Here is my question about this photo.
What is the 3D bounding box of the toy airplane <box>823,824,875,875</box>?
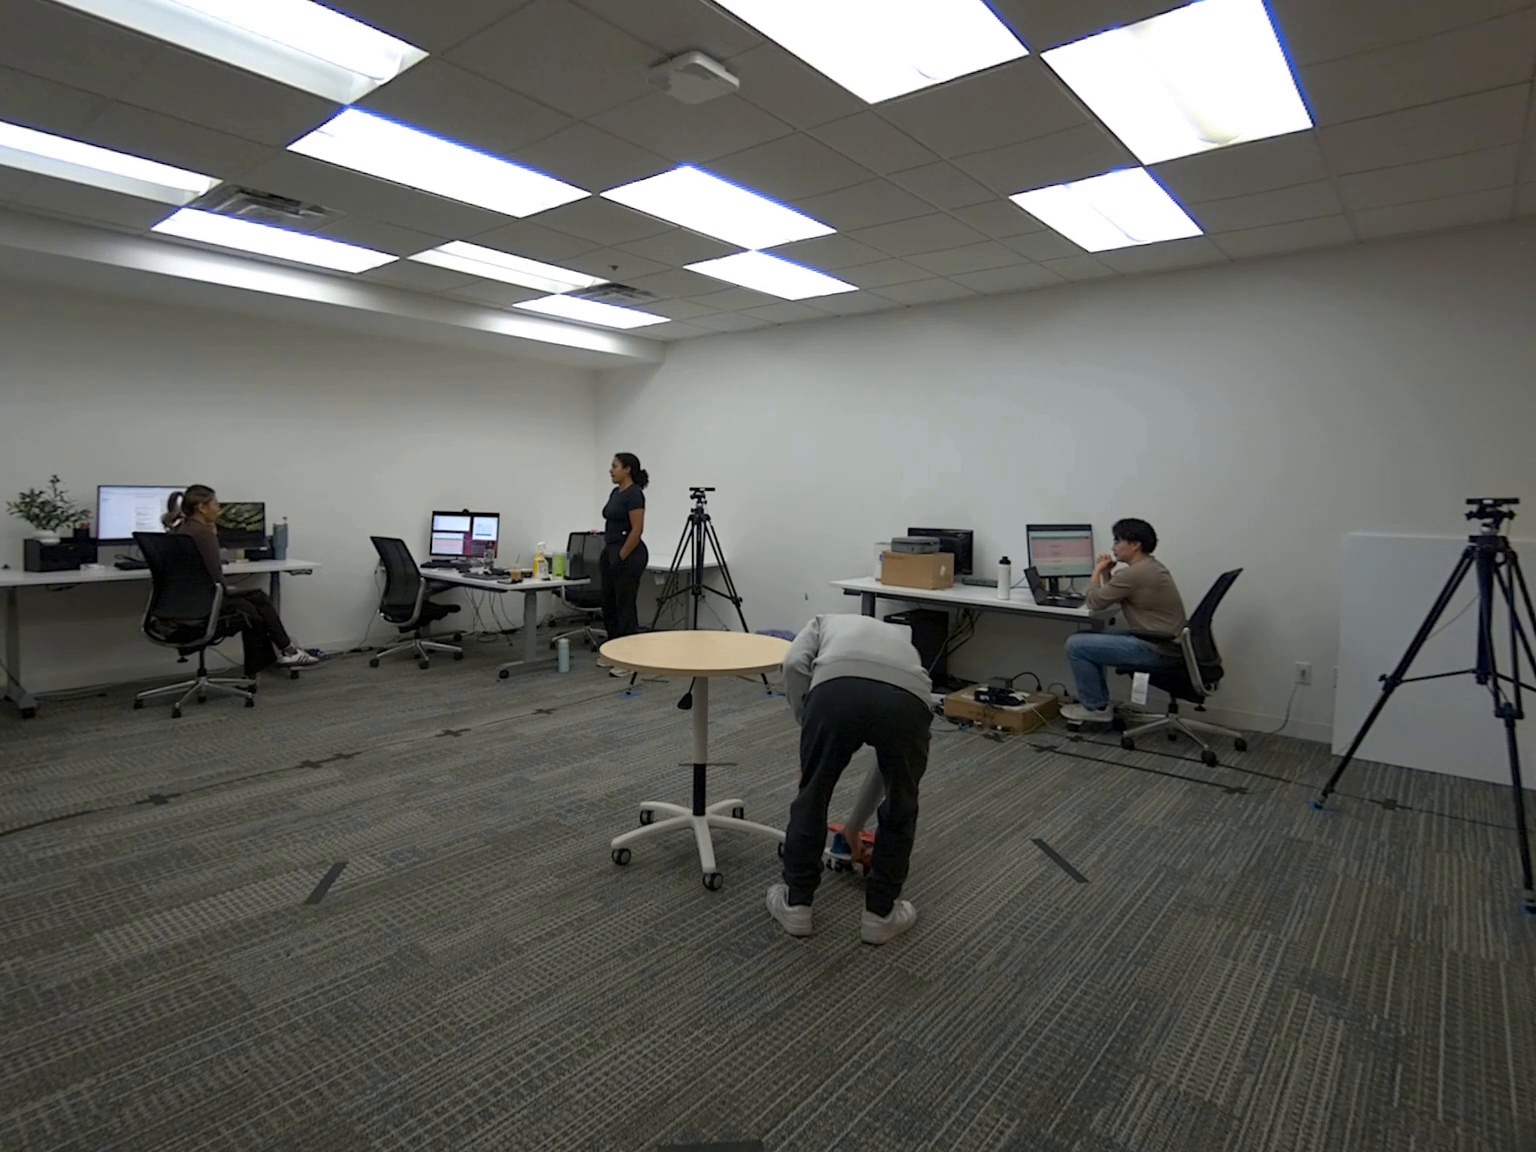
[{"bbox_3d":[0.312,0.988,3.039,0.255,0.158,0.253,13,-14,11],"label":"toy airplane"}]
